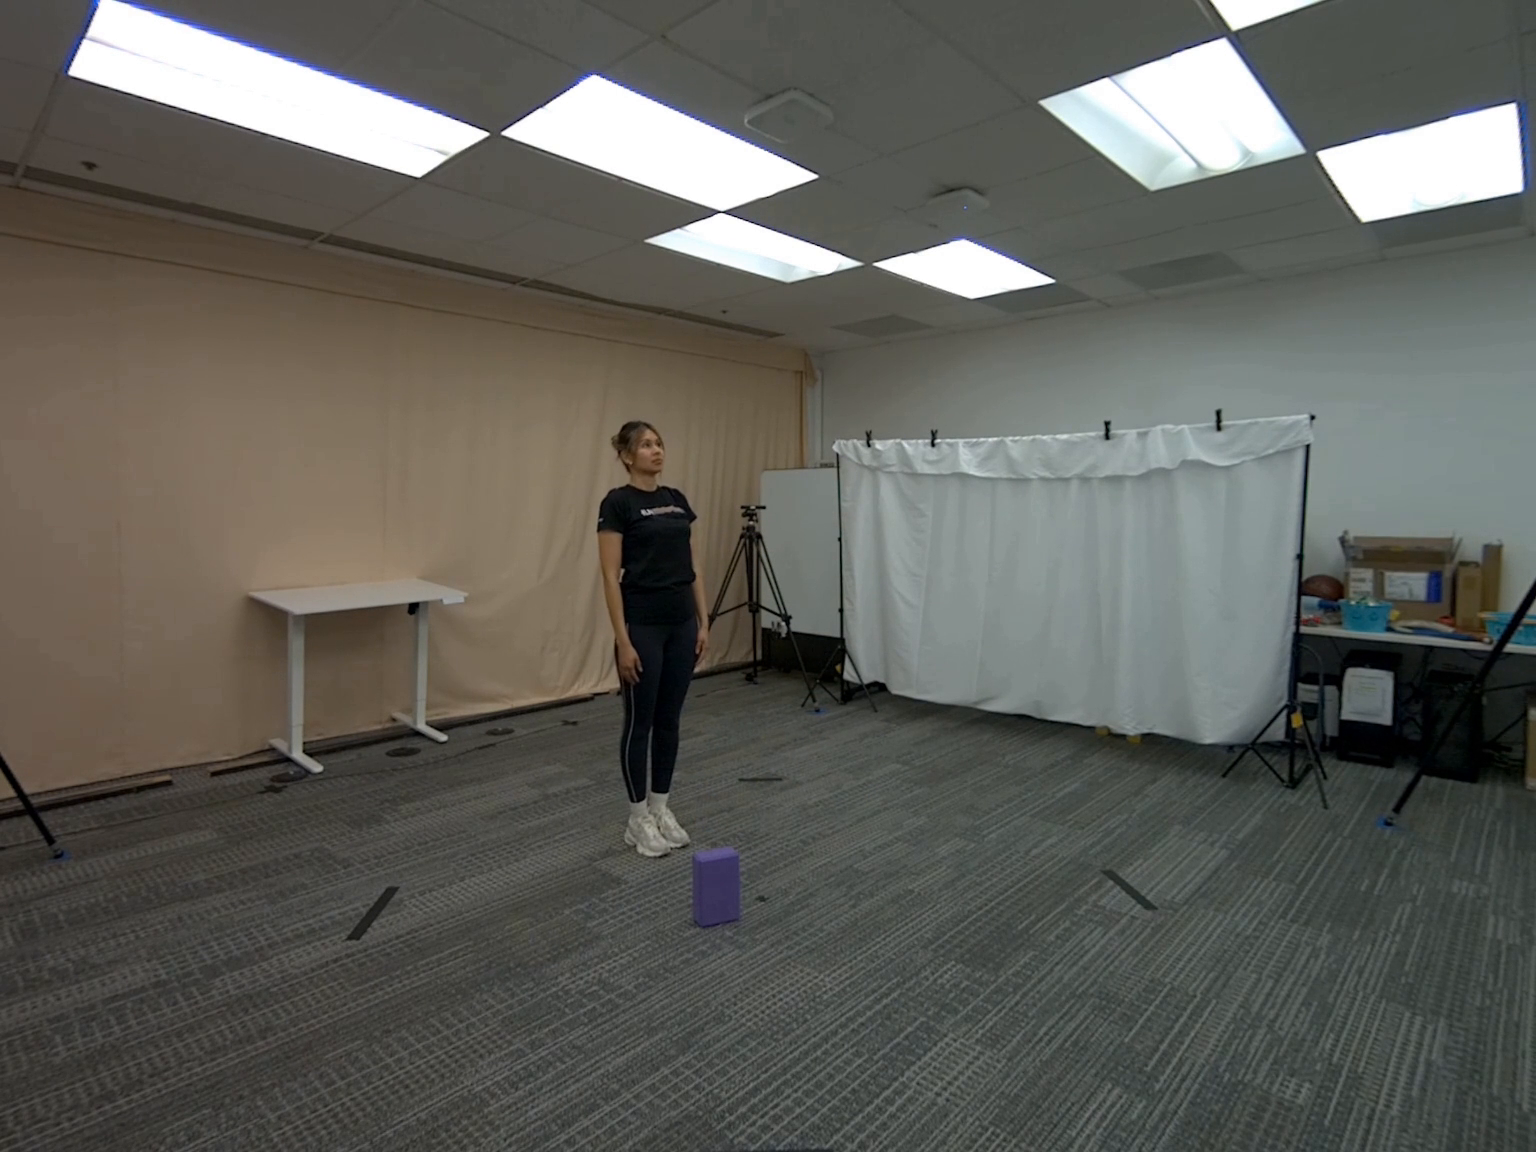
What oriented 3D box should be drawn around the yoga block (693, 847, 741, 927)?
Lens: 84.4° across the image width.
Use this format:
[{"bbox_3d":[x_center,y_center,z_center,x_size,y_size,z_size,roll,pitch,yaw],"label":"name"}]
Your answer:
[{"bbox_3d":[-0.171,1.040,2.823,0.145,0.229,0.078,-1,3,-25],"label":"yoga block"}]
